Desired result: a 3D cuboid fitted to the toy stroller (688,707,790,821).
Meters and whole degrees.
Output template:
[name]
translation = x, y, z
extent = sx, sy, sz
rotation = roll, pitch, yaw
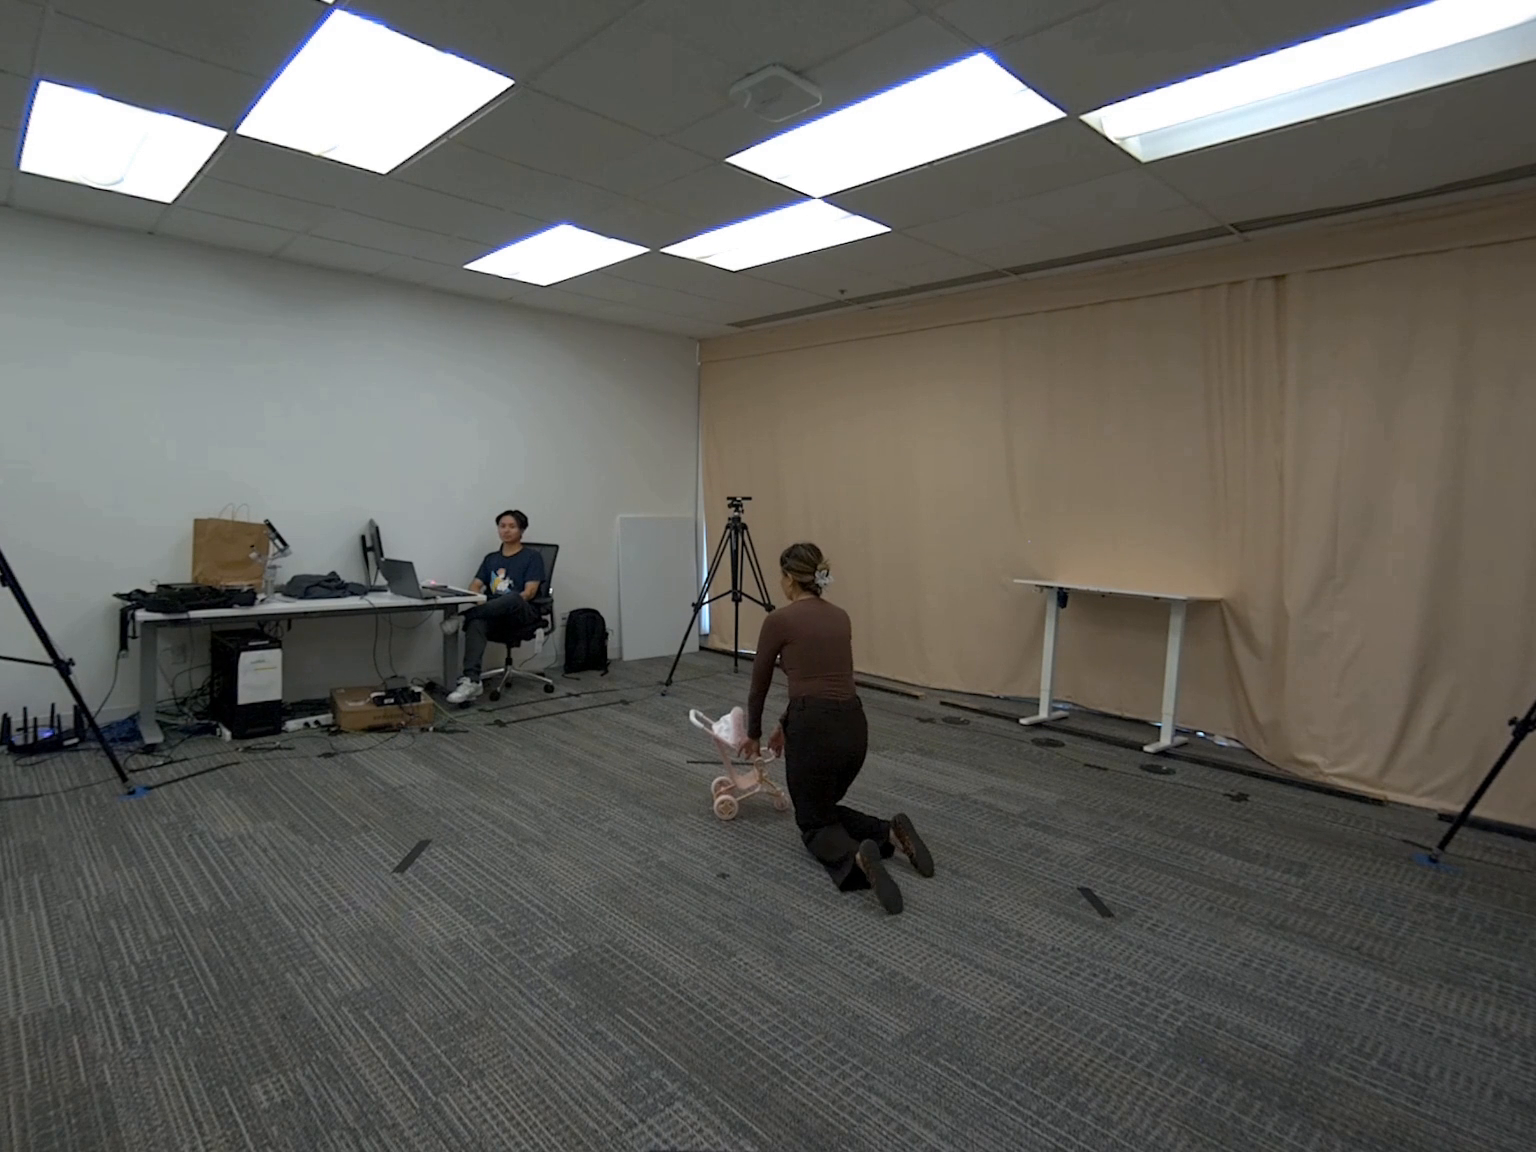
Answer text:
[toy stroller]
translation = -0.131, 0.823, 3.761
extent = 0.341, 0.533, 0.282
rotation = -14, 4, 1
